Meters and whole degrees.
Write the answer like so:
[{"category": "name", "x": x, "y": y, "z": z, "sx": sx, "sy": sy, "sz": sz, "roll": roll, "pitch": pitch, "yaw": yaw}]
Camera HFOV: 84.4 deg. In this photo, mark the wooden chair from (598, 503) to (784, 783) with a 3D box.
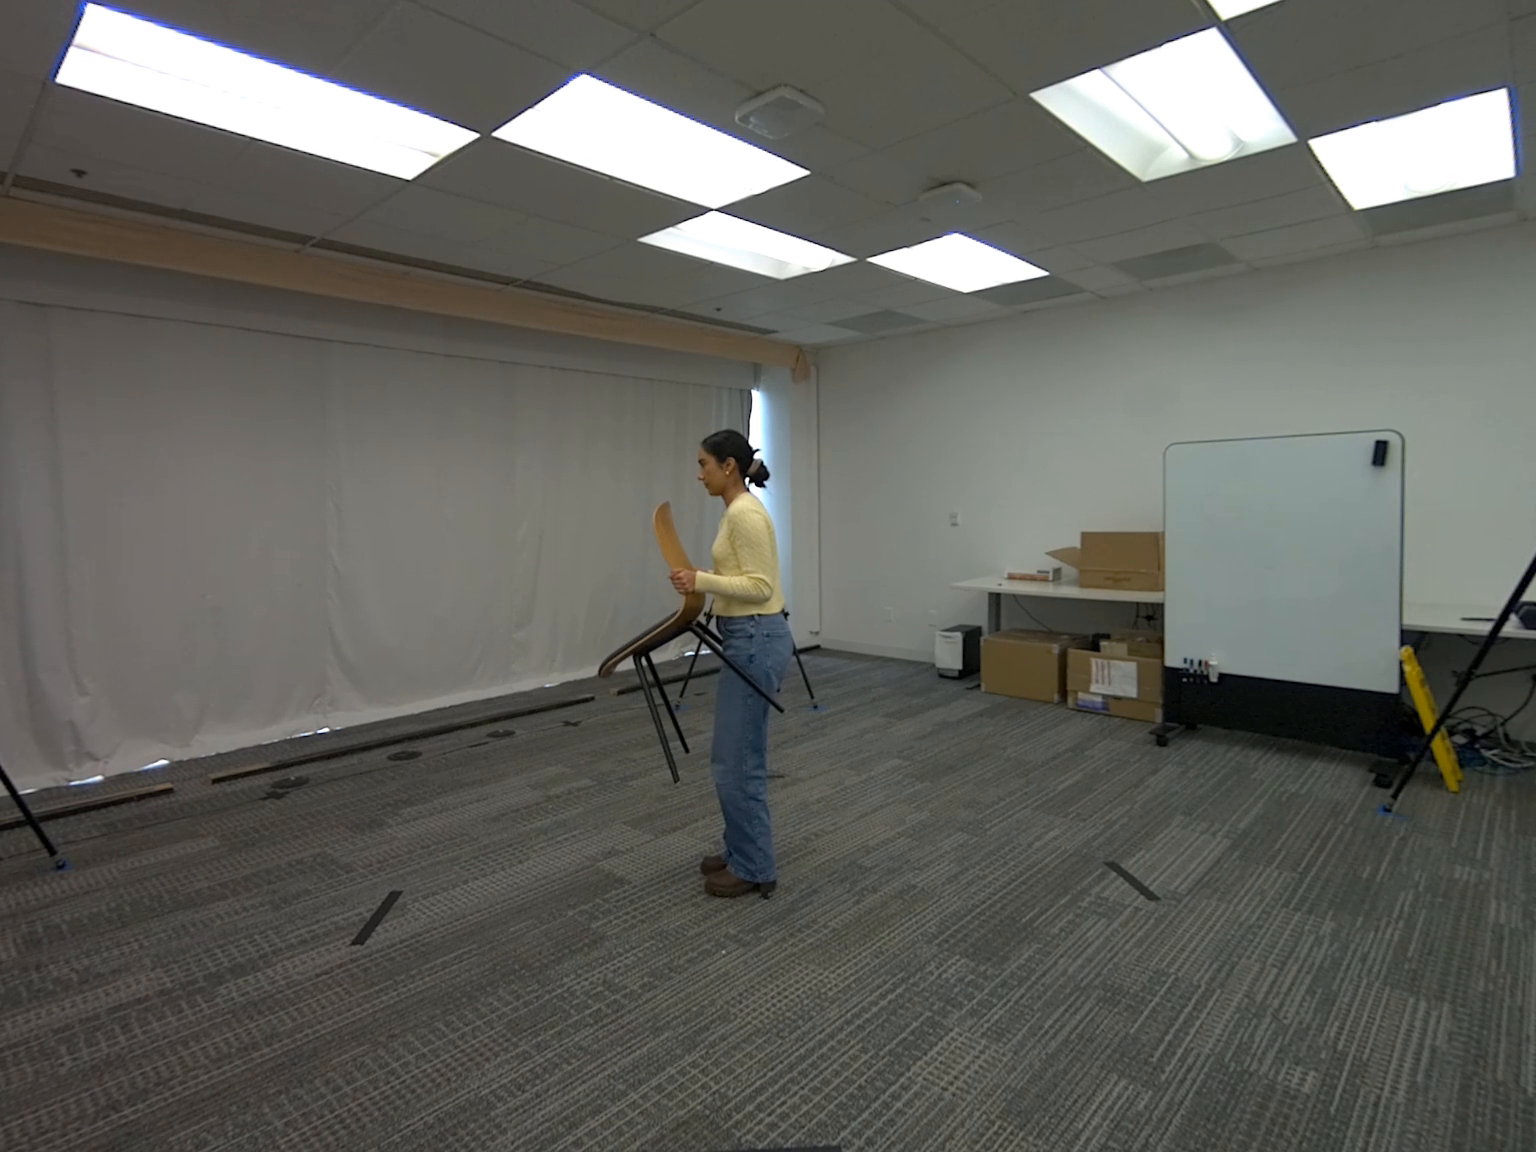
[{"category": "wooden chair", "x": -0.378, "y": 0.238, "z": 3.110, "sx": 0.524, "sy": 0.879, "sz": 0.477, "roll": -29, "pitch": -1, "yaw": 1}]
